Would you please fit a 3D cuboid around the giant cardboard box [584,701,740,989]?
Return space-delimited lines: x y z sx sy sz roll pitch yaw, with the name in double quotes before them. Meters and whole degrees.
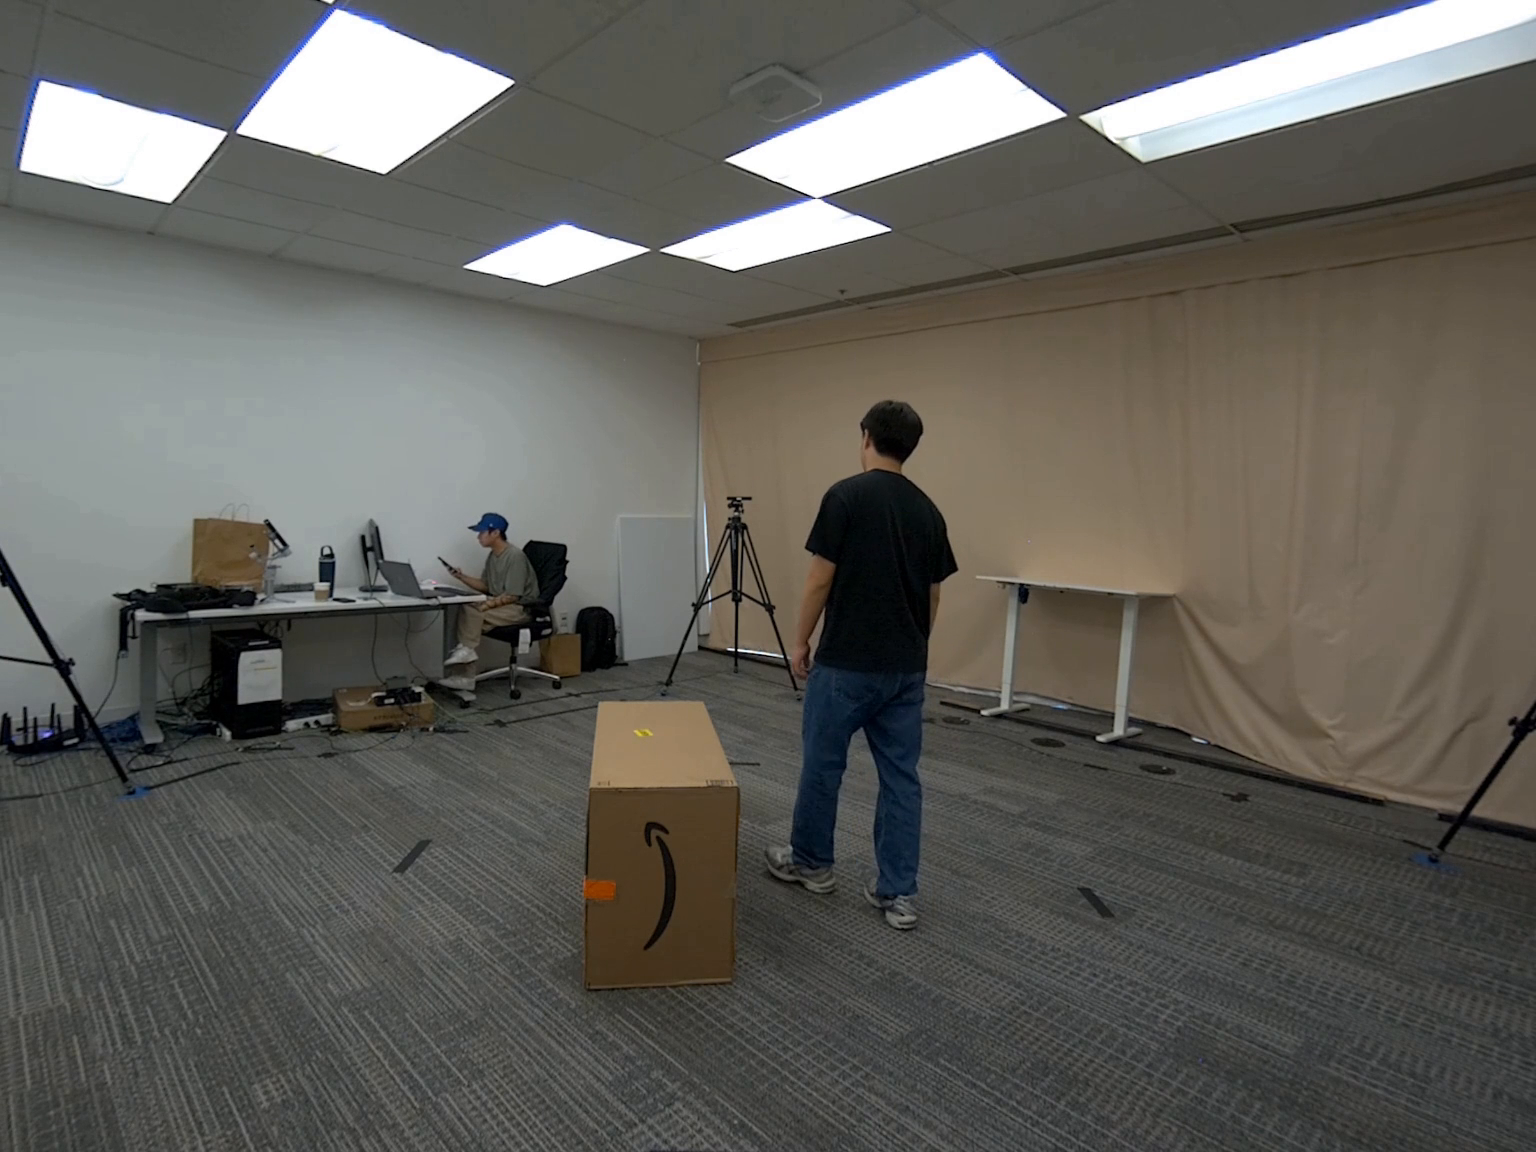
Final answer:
"giant cardboard box" -0.393 0.836 2.877 0.443 0.582 1.037 0 4 -10
